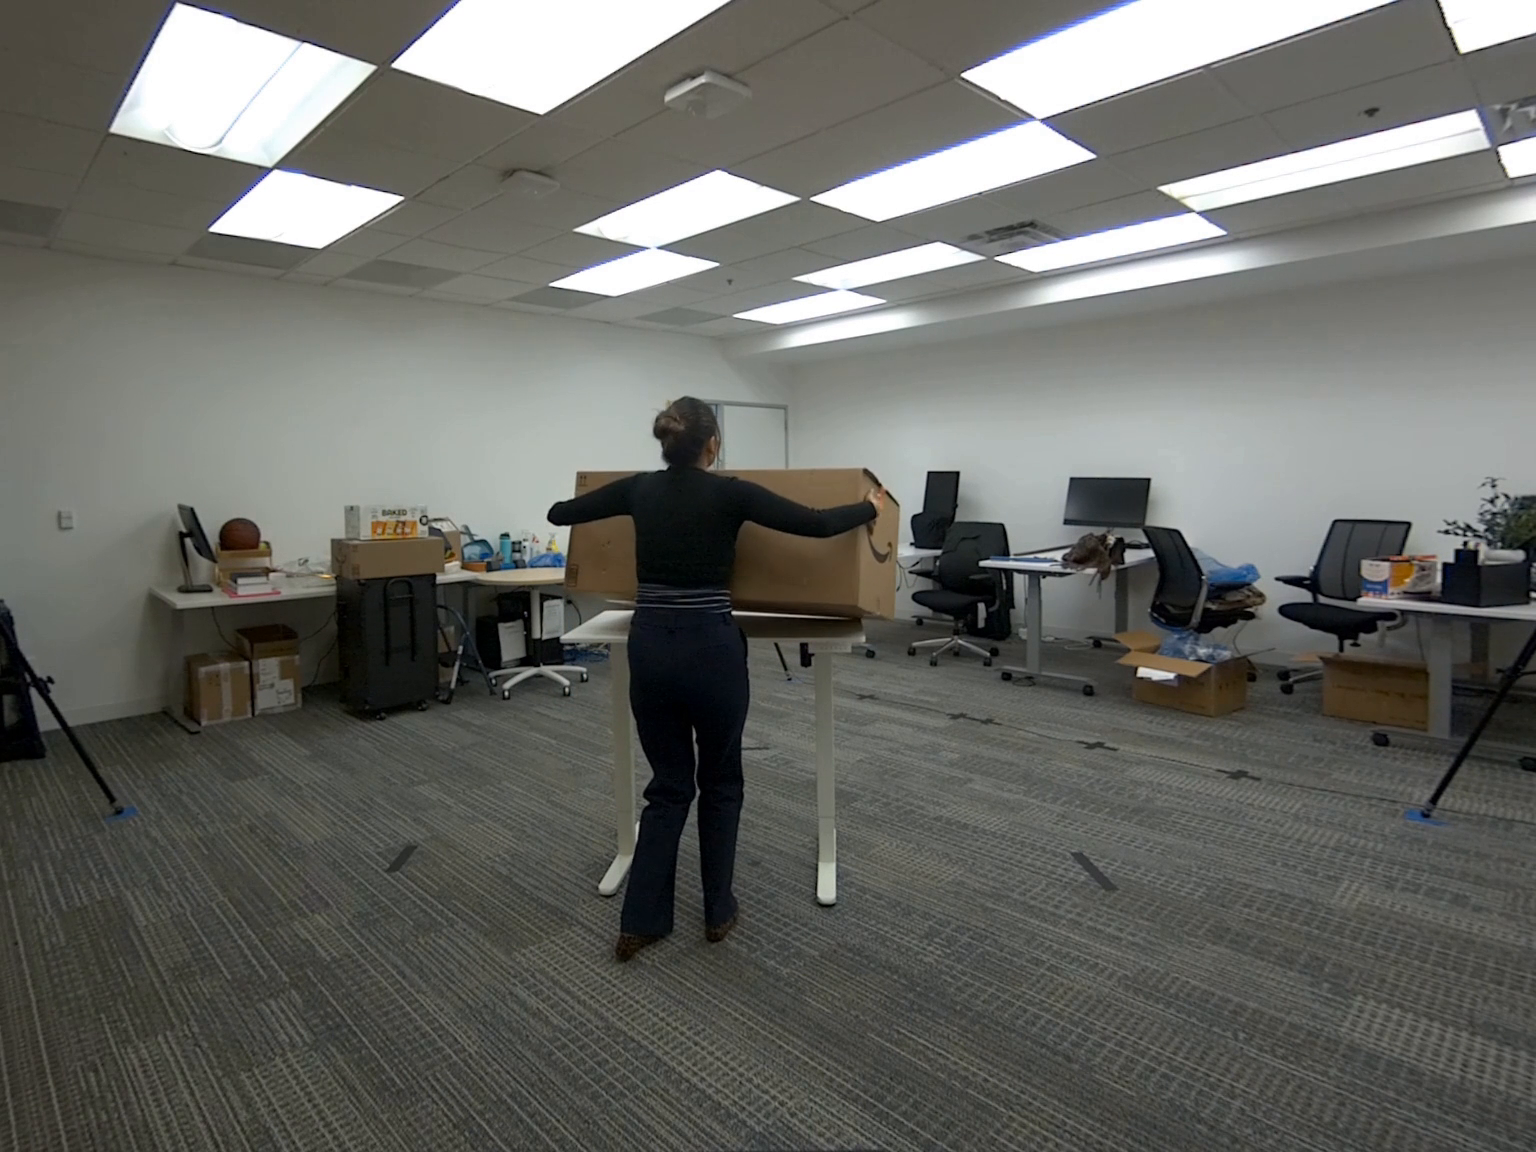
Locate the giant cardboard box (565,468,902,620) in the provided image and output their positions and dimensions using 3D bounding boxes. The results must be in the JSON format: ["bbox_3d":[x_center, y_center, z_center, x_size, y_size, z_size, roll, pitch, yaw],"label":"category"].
[{"bbox_3d":[-0.107,-0.105,3.008,1.047,0.429,0.562,2,-8,22],"label":"giant cardboard box"}]
